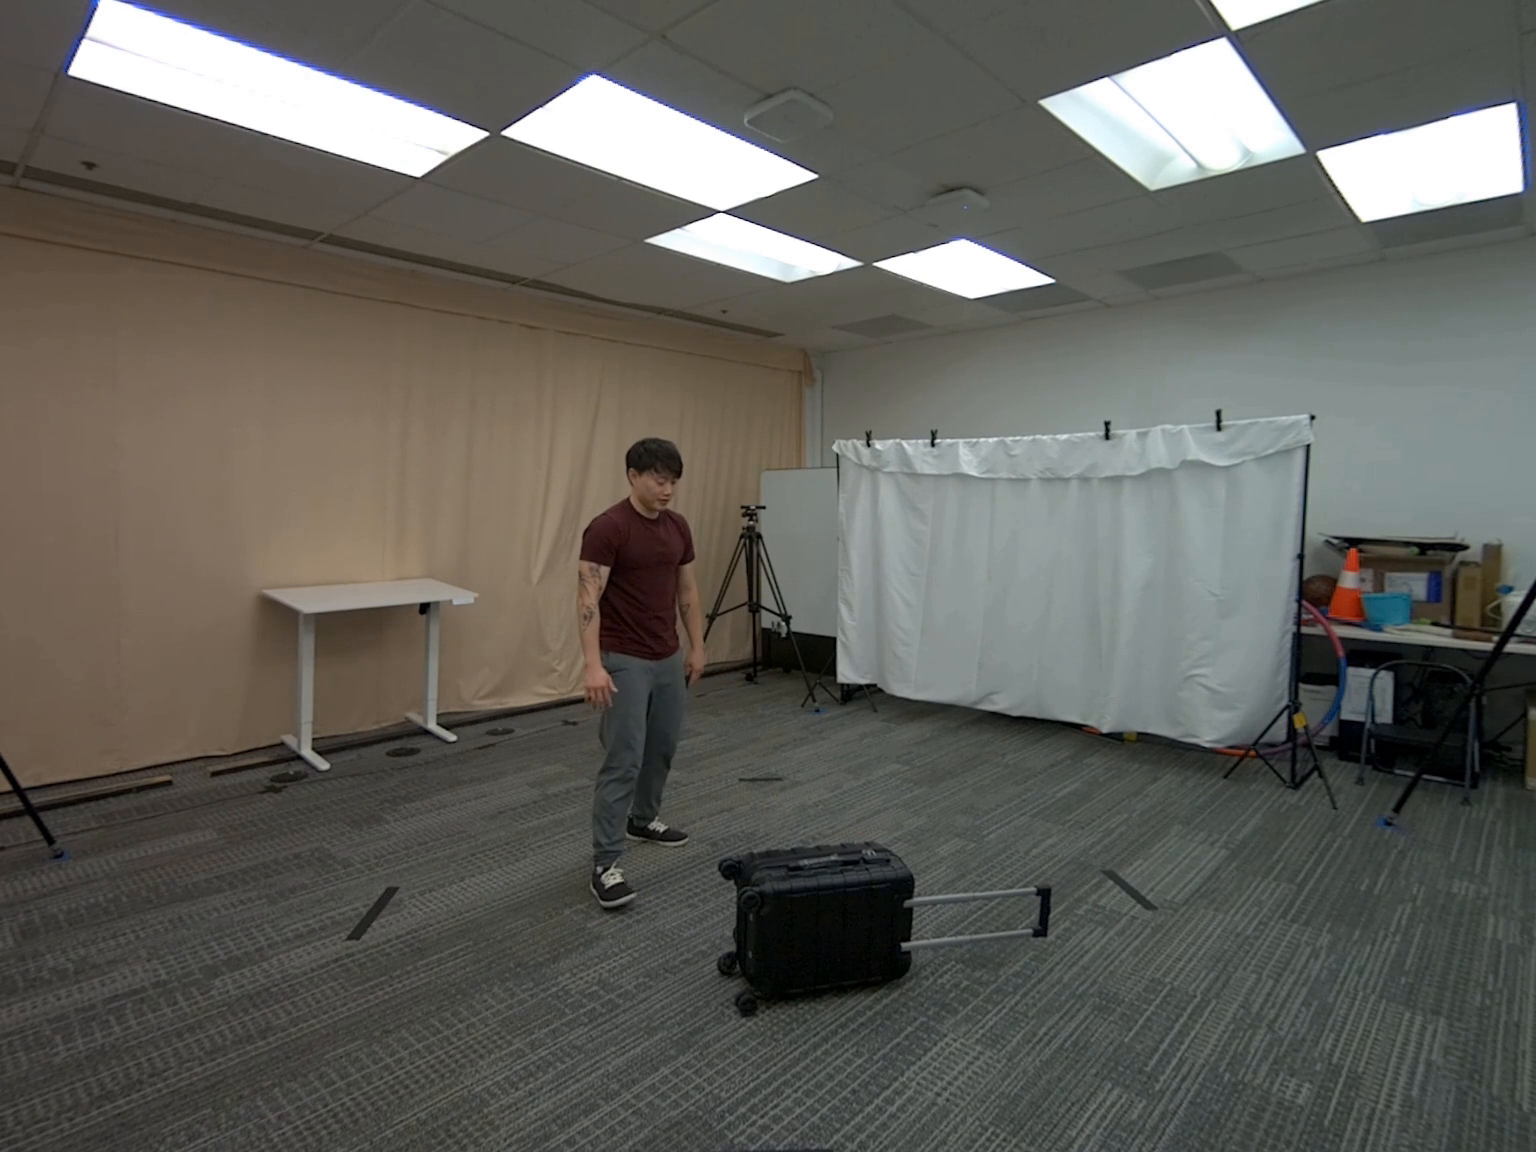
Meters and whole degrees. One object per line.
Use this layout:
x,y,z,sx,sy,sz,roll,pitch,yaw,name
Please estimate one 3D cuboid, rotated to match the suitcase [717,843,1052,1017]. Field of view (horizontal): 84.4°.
0.352,0.995,2.527,0.961,0.383,0.262,-1,4,-17,suitcase
